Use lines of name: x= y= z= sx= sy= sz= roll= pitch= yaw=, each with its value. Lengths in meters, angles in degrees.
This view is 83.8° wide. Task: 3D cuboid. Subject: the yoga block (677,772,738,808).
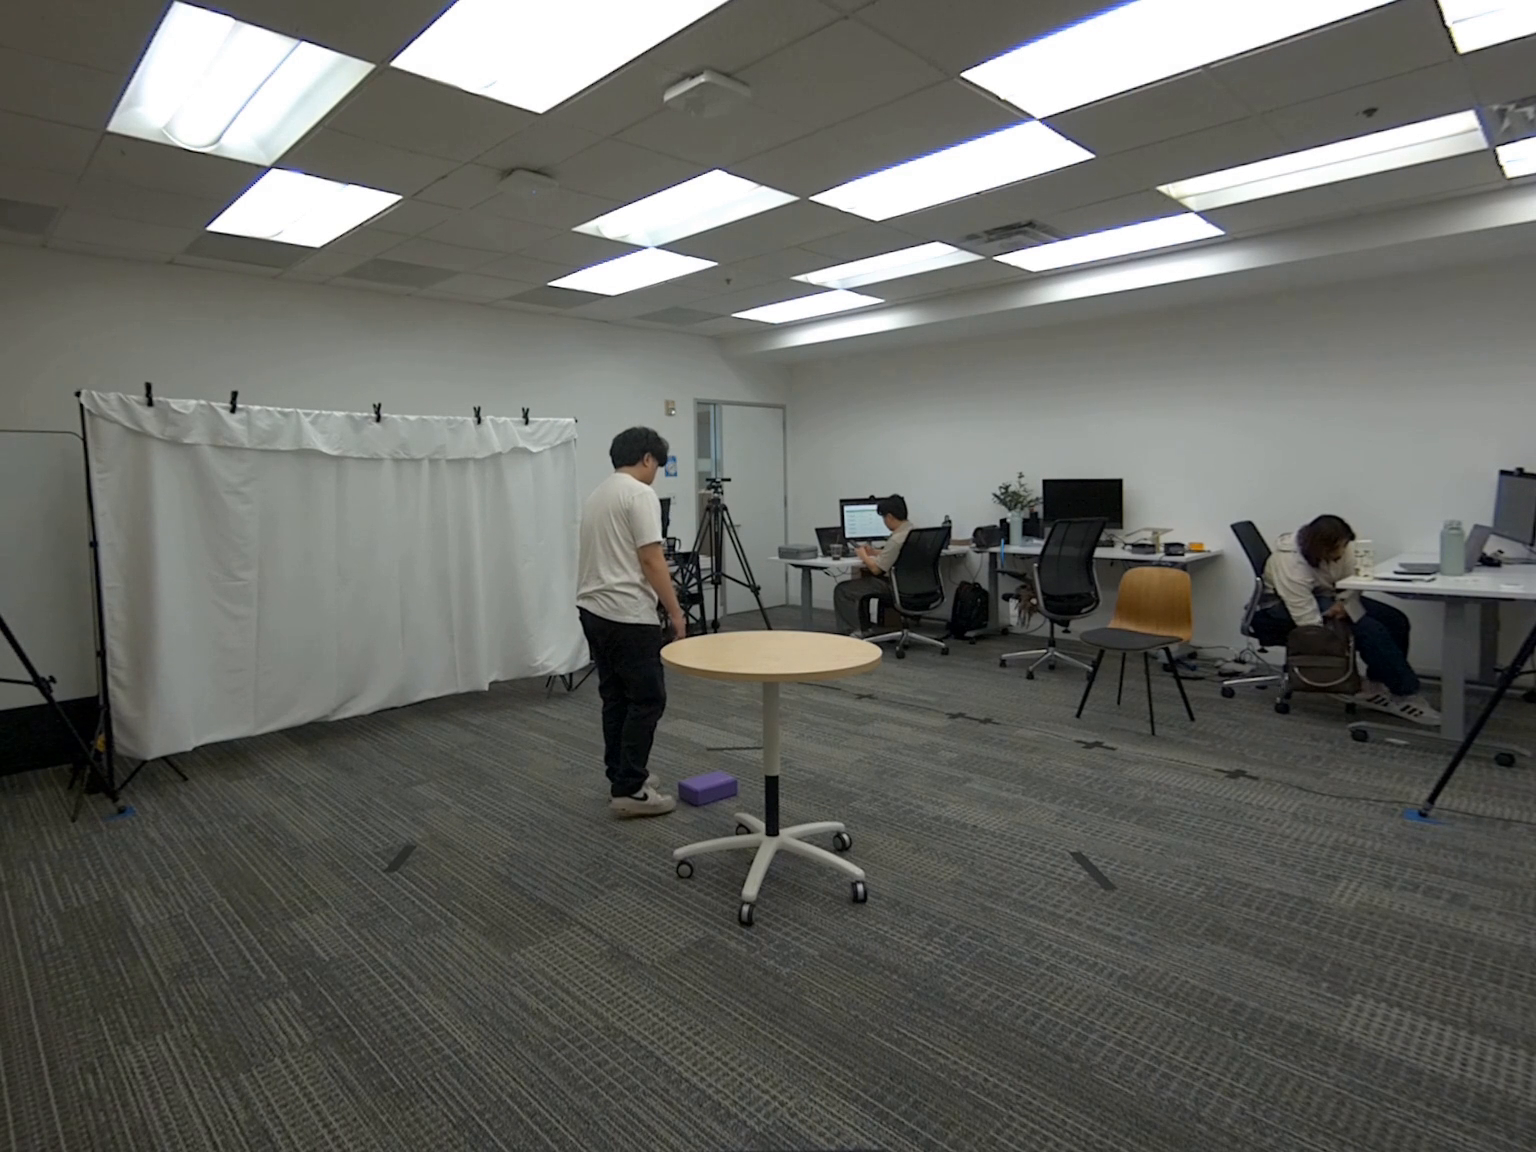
yoga block: x=-0.263 y=0.931 z=3.761 sx=0.223 sy=0.076 sz=0.153 roll=-5 pitch=8 yaw=-40
